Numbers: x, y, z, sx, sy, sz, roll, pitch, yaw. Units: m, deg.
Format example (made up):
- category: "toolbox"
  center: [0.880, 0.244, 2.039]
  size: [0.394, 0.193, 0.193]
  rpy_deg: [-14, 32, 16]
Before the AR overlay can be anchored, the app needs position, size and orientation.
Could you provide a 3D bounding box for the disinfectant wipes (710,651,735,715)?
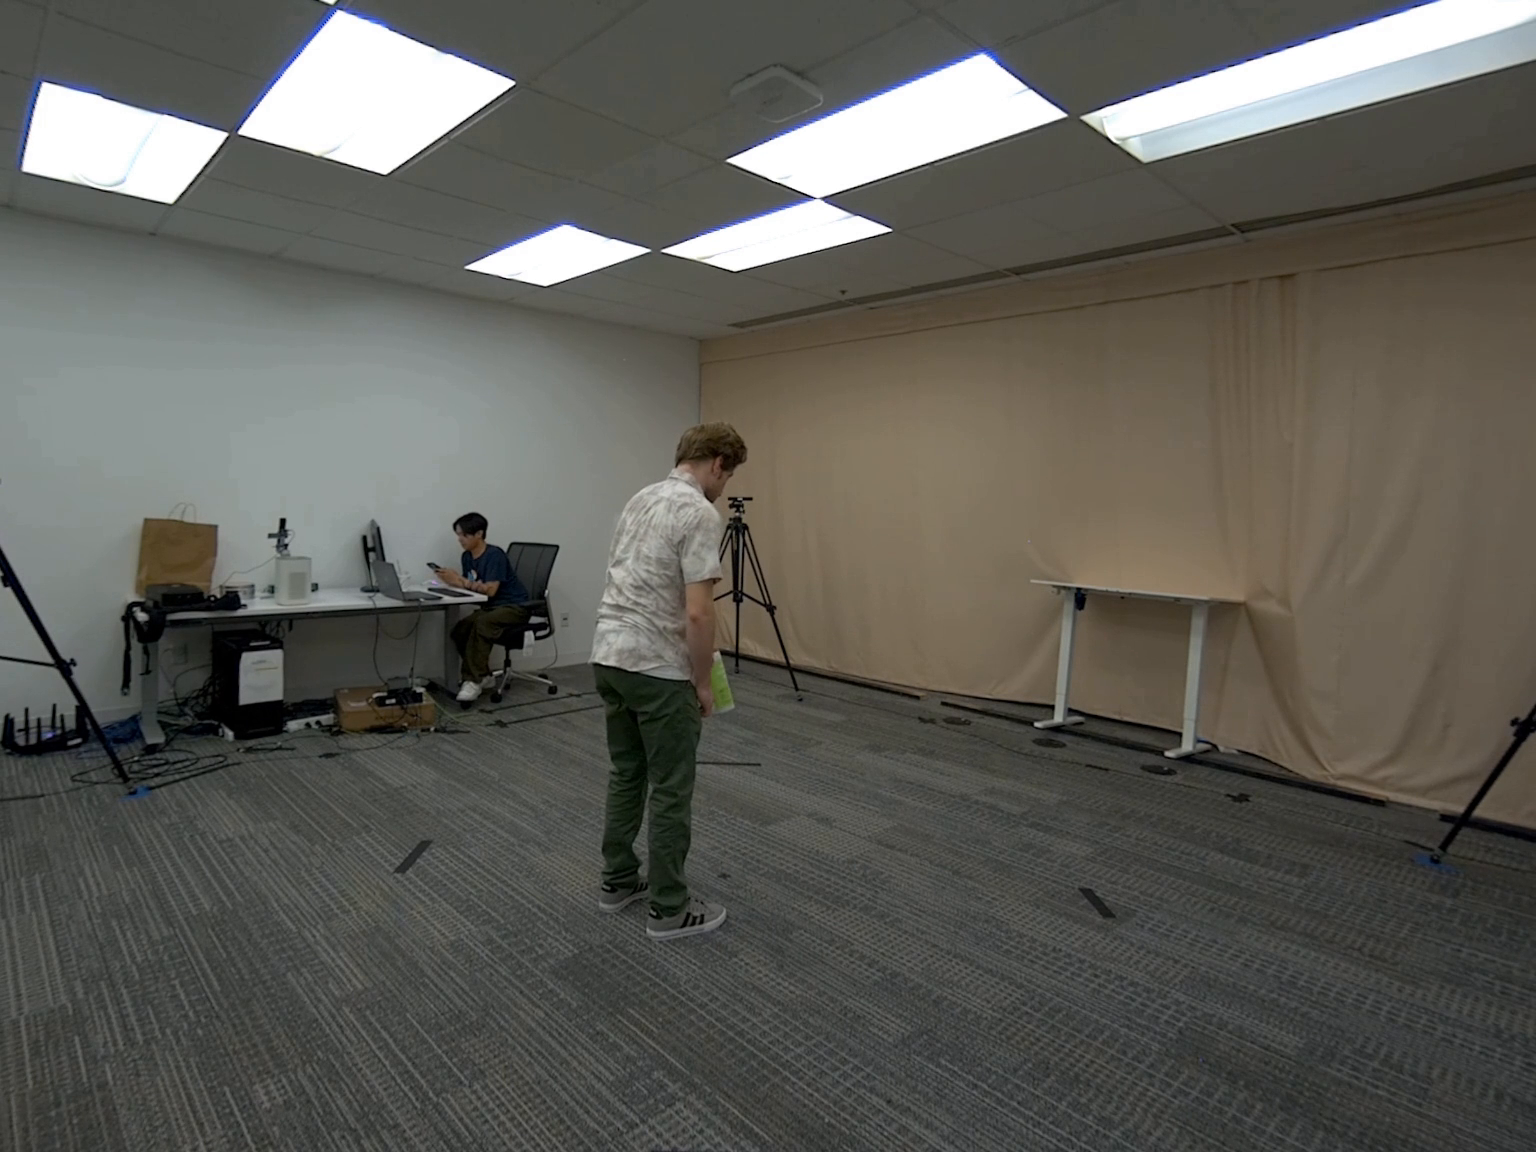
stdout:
- category: "disinfectant wipes"
  center: [-0.203, 0.394, 3.066]
  size: [0.118, 0.218, 0.117]
  rpy_deg: [-13, -1, -2]
